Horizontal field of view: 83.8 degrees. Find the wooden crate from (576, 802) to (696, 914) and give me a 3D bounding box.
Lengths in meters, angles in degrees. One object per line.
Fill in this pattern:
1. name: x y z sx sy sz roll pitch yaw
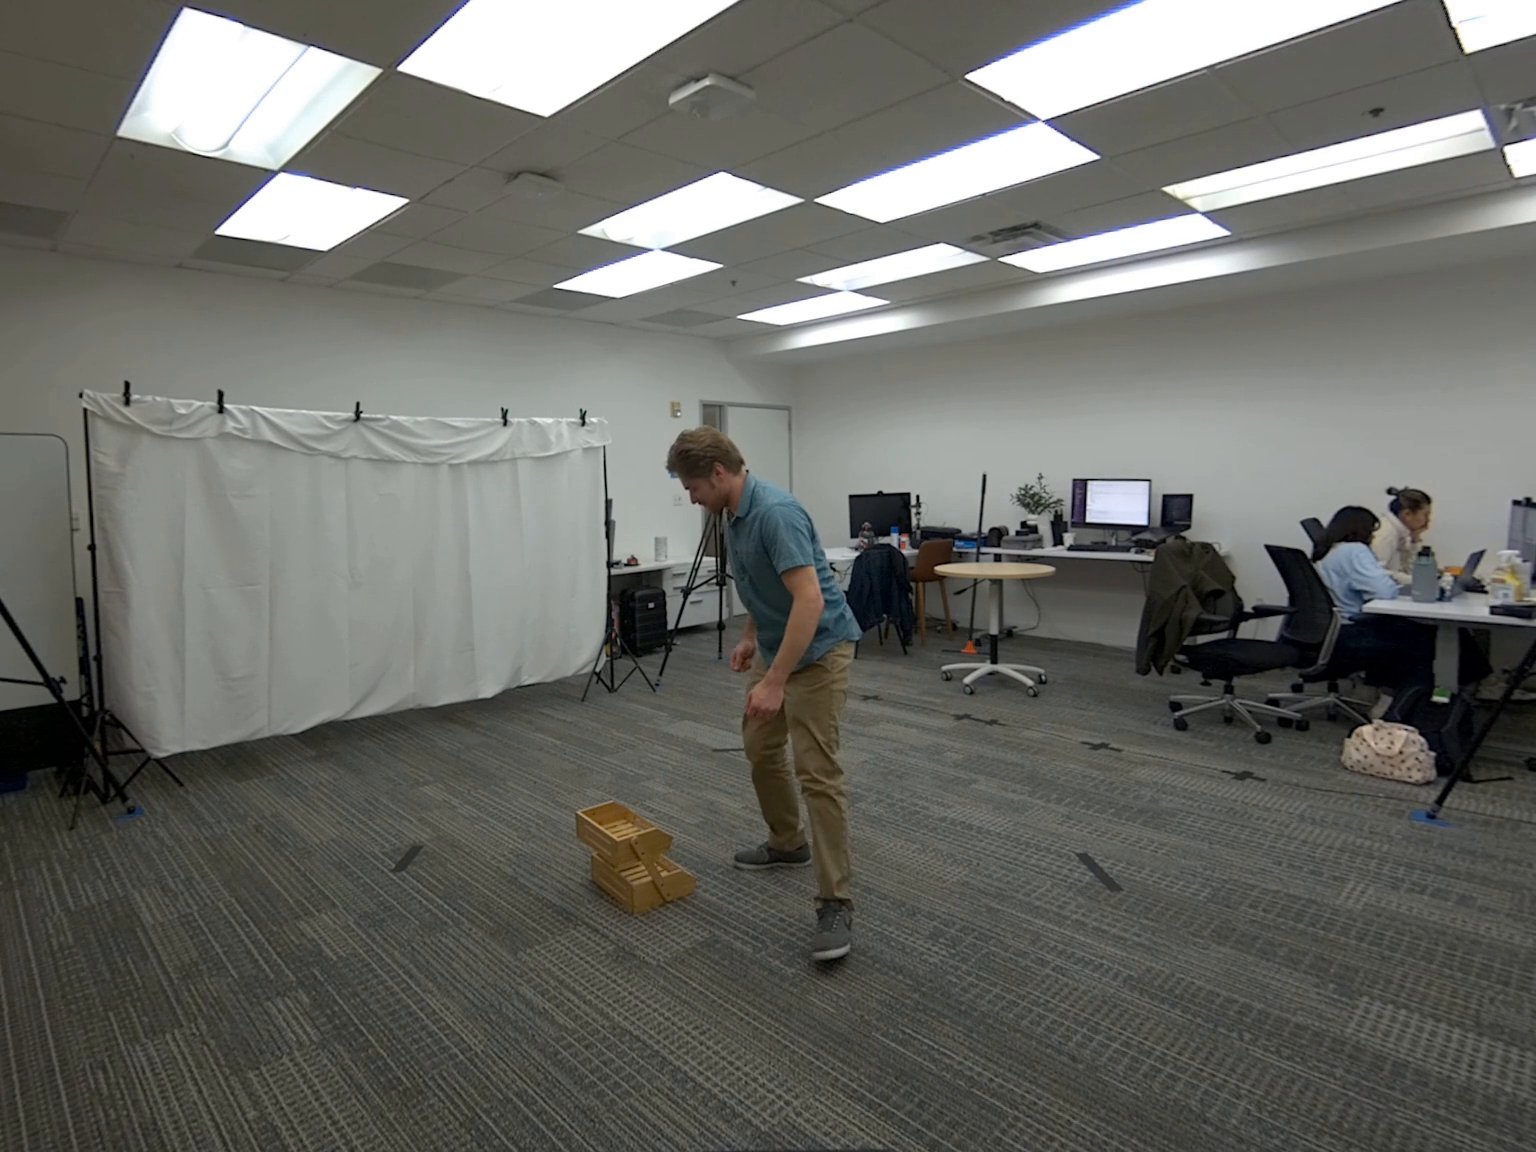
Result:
1. wooden crate: -0.449 0.940 2.931 0.294 0.272 0.334 -6 8 -37
